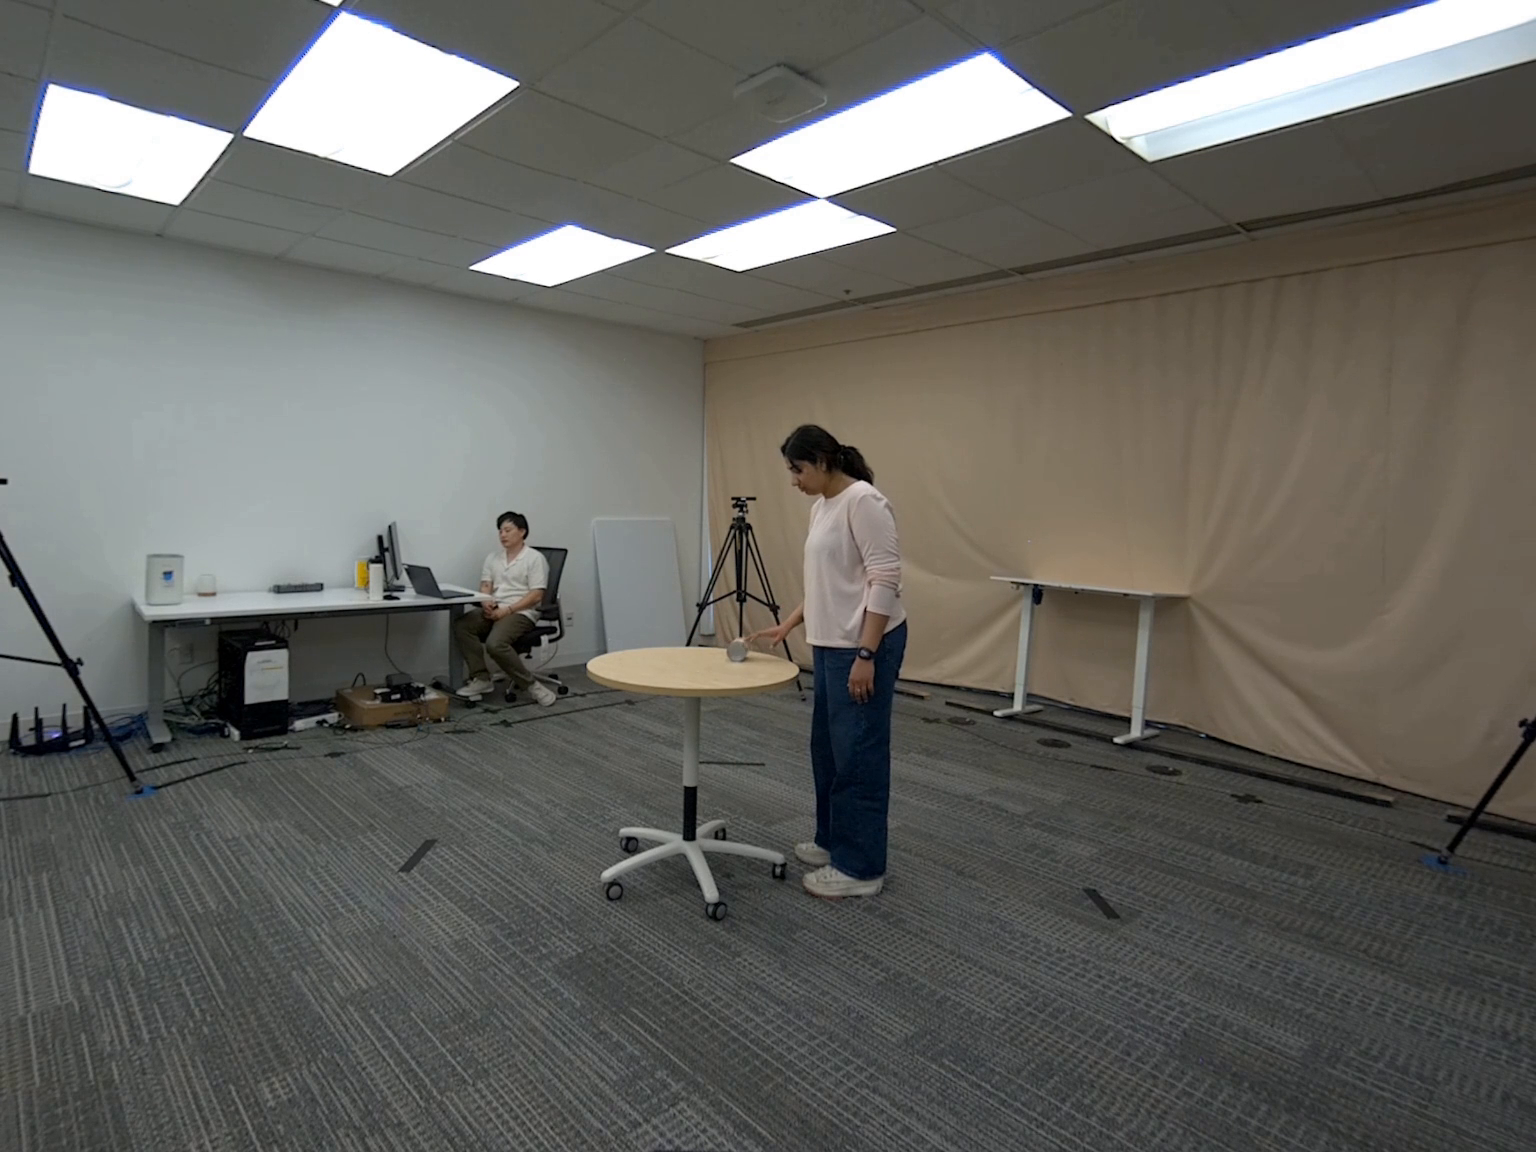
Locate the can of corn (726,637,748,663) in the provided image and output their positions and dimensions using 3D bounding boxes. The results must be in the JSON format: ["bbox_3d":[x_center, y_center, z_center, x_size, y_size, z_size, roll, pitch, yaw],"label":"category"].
[{"bbox_3d":[-0.114,0.274,3.202,0.074,0.074,0.111,2,4,3],"label":"can of corn"}]
